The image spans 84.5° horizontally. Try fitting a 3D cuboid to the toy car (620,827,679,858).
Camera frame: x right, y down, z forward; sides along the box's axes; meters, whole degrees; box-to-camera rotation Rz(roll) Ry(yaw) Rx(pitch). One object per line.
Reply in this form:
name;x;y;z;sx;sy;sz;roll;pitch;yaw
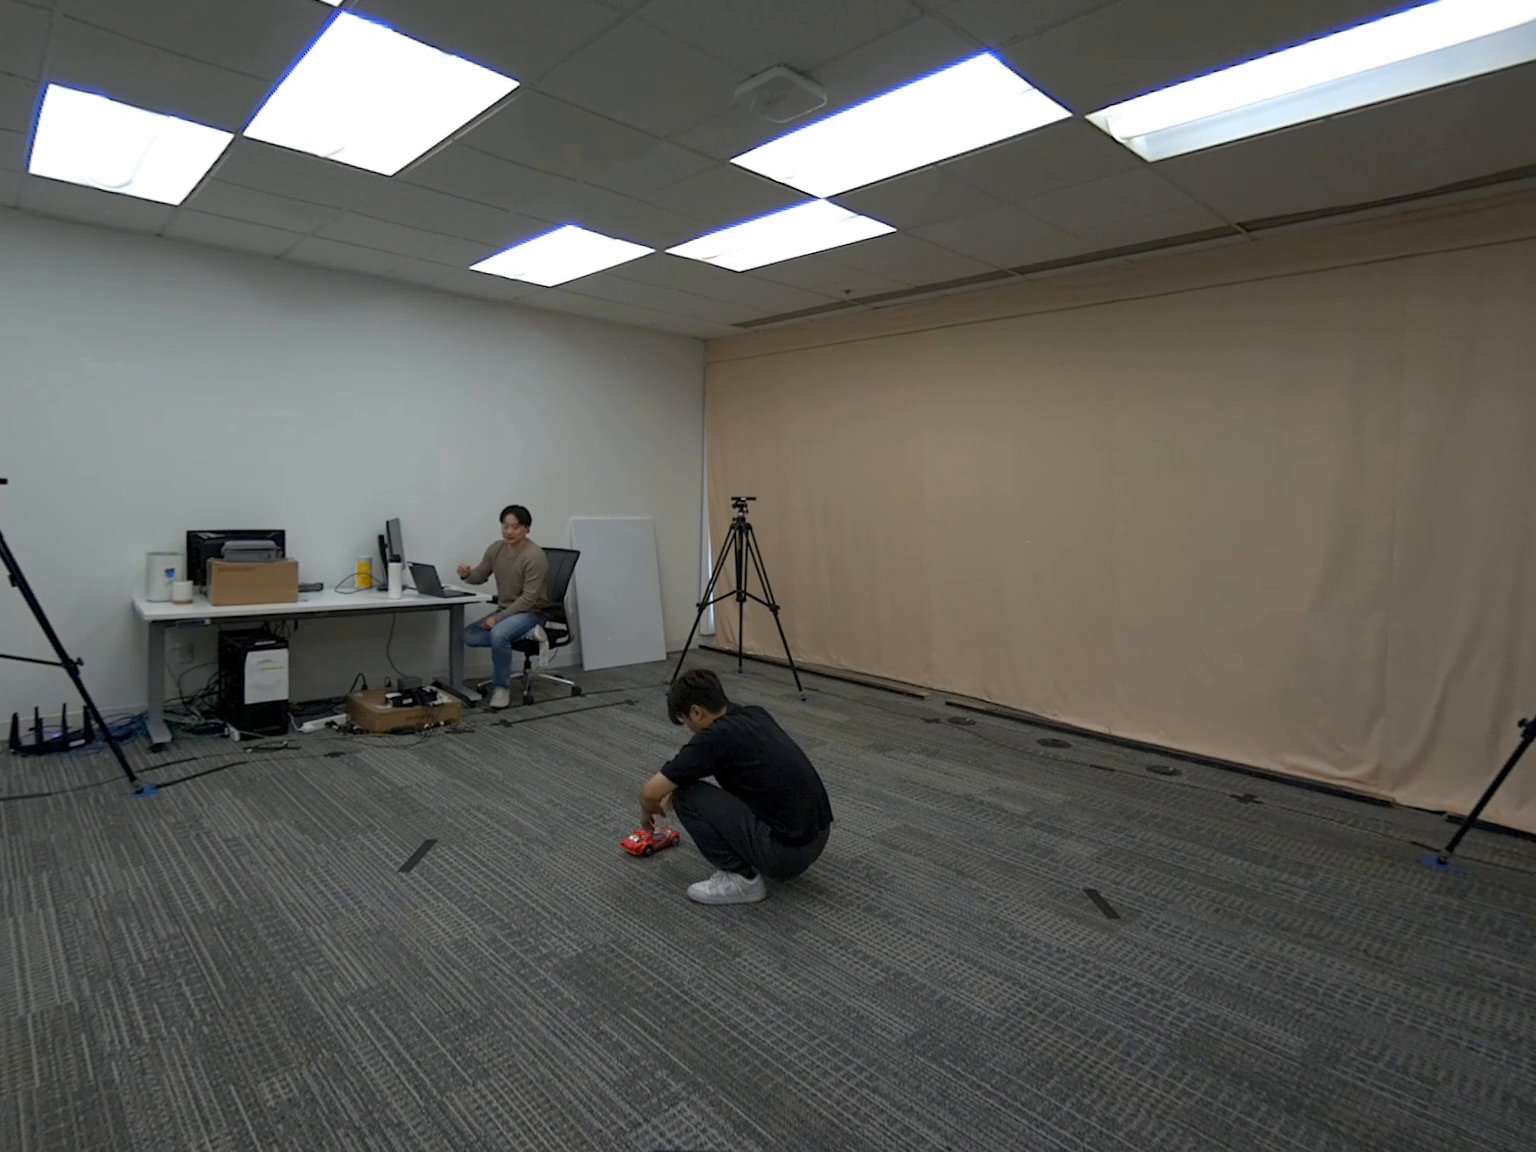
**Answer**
toy car;-0.476;1.046;3.322;0.134;0.083;0.247;6;-3;42
